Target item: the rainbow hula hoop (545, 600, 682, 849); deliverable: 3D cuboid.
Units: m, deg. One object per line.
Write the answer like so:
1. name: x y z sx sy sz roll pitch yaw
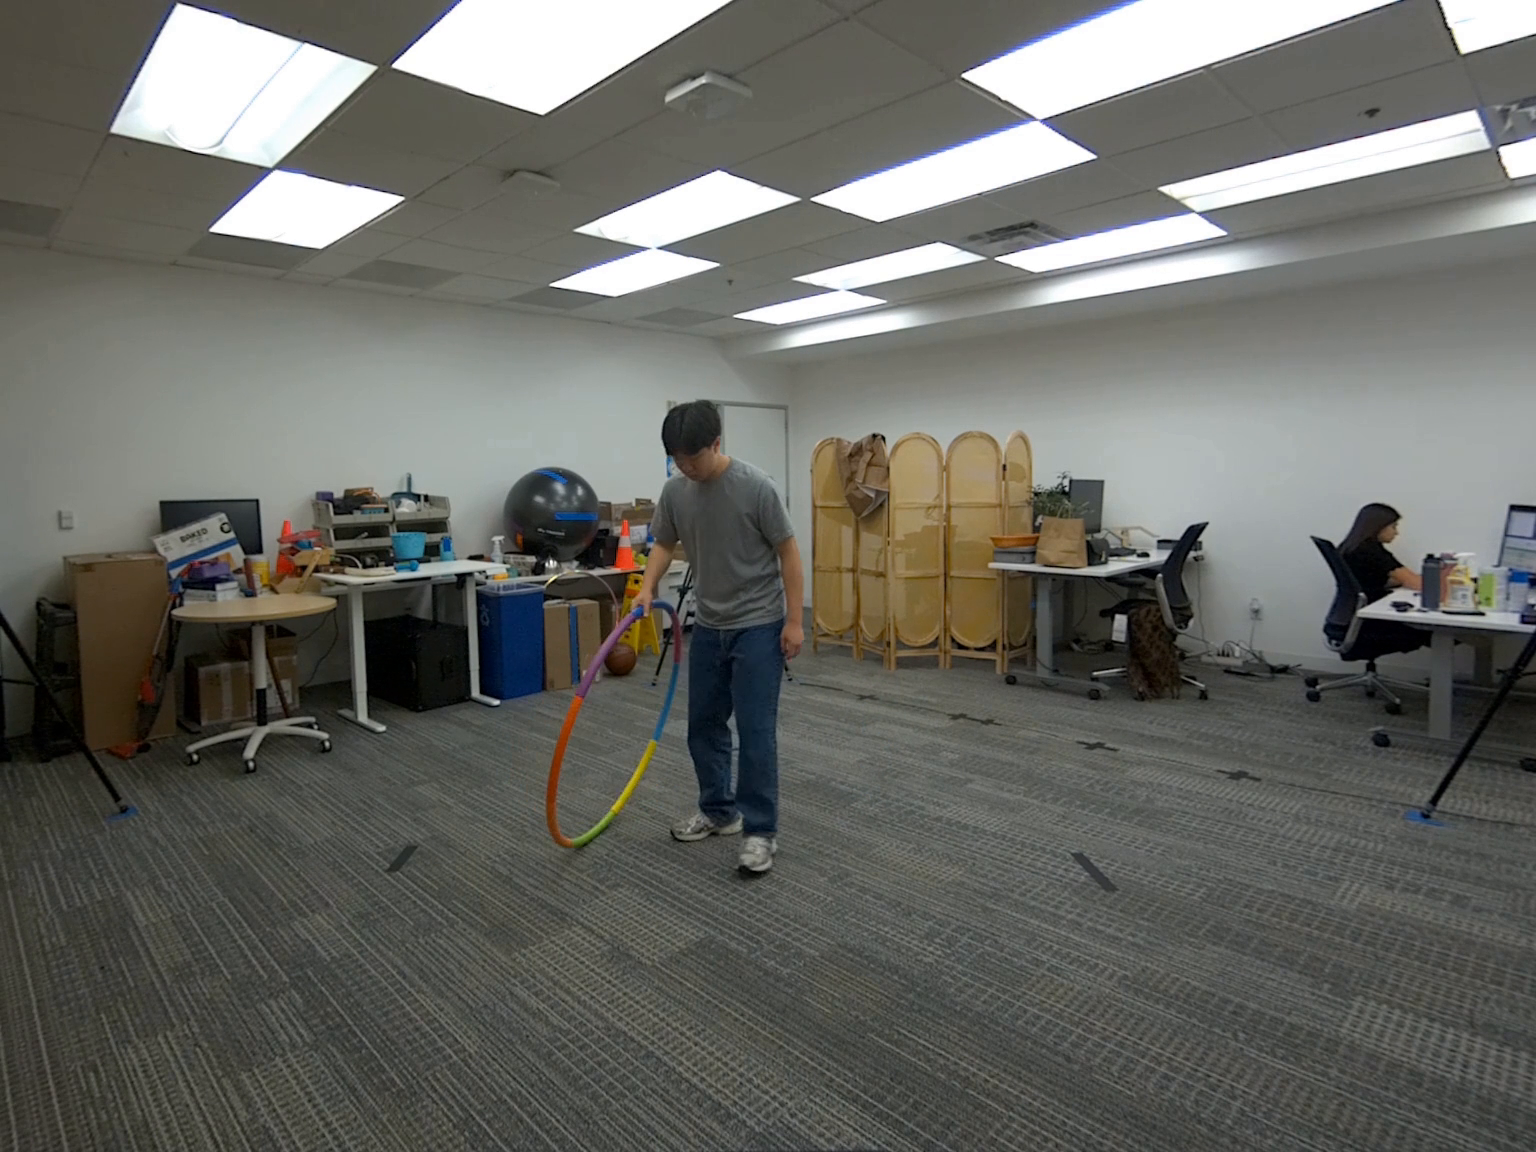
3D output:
1. rainbow hula hoop: -0.560 0.564 3.292 0.036 0.973 0.966 18 10 14
